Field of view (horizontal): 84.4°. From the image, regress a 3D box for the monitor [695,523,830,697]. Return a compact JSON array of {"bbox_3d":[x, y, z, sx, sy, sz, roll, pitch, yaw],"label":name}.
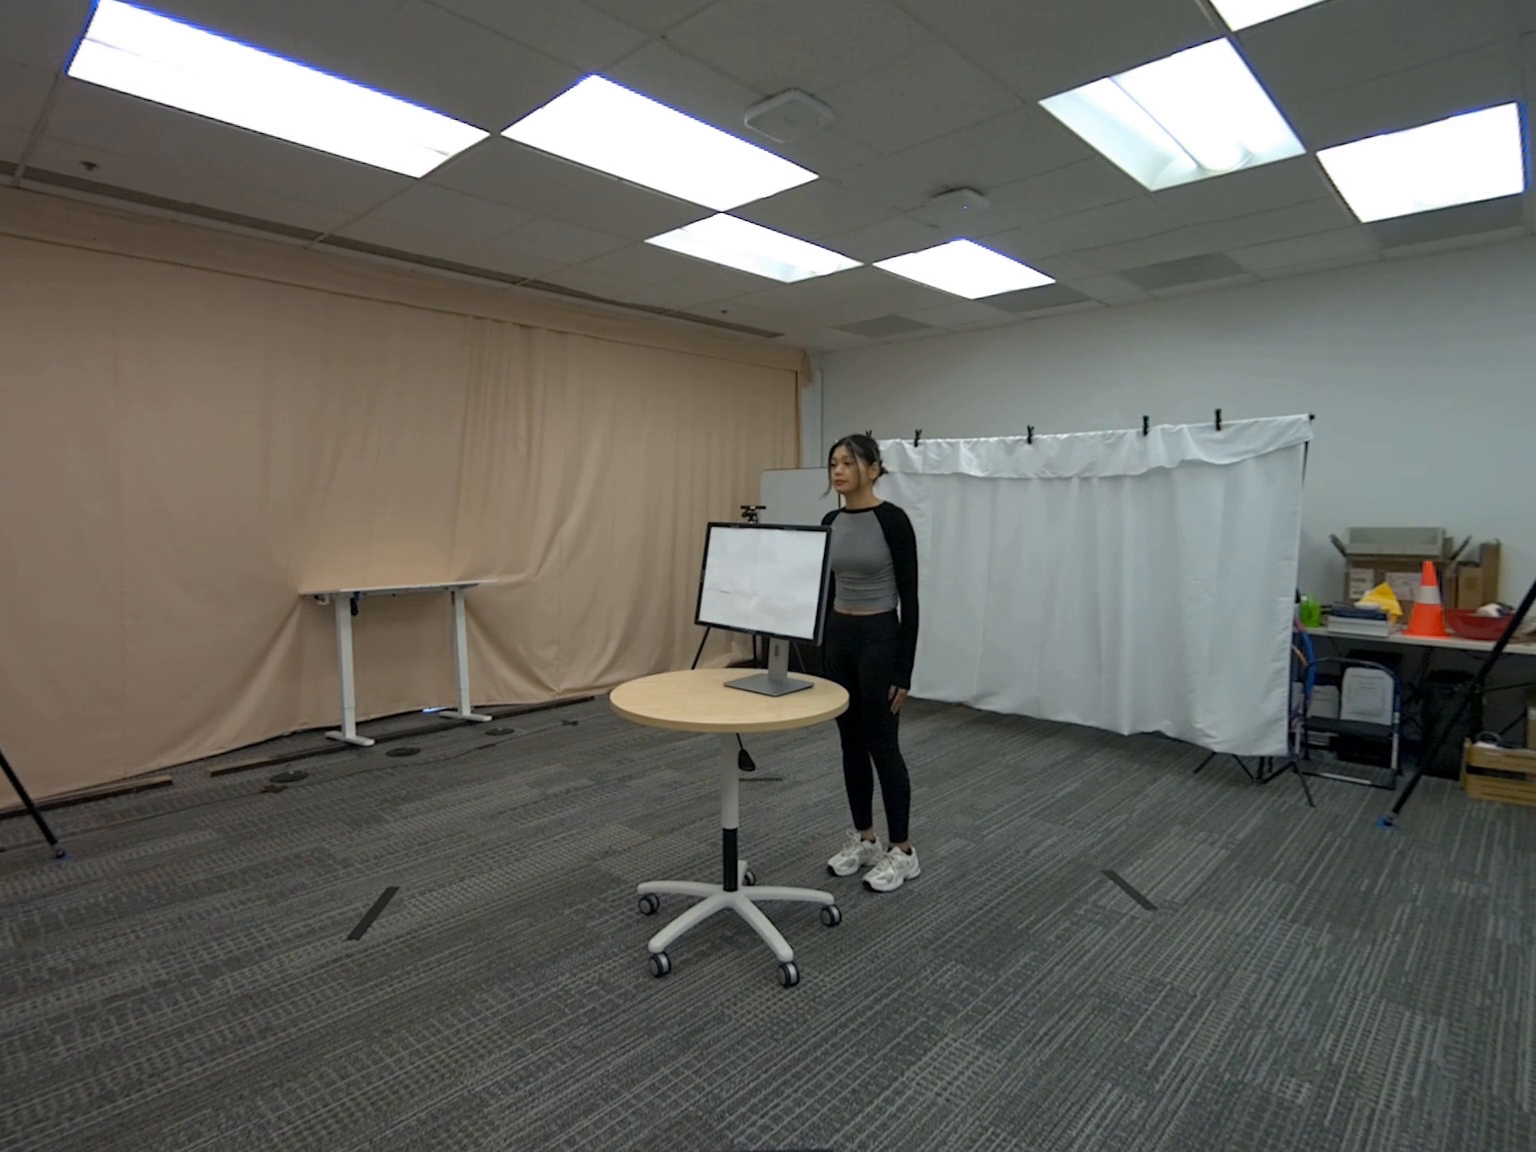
[{"bbox_3d":[0.005,0.104,2.781,0.557,0.521,0.181,4,7,44],"label":"monitor"}]
